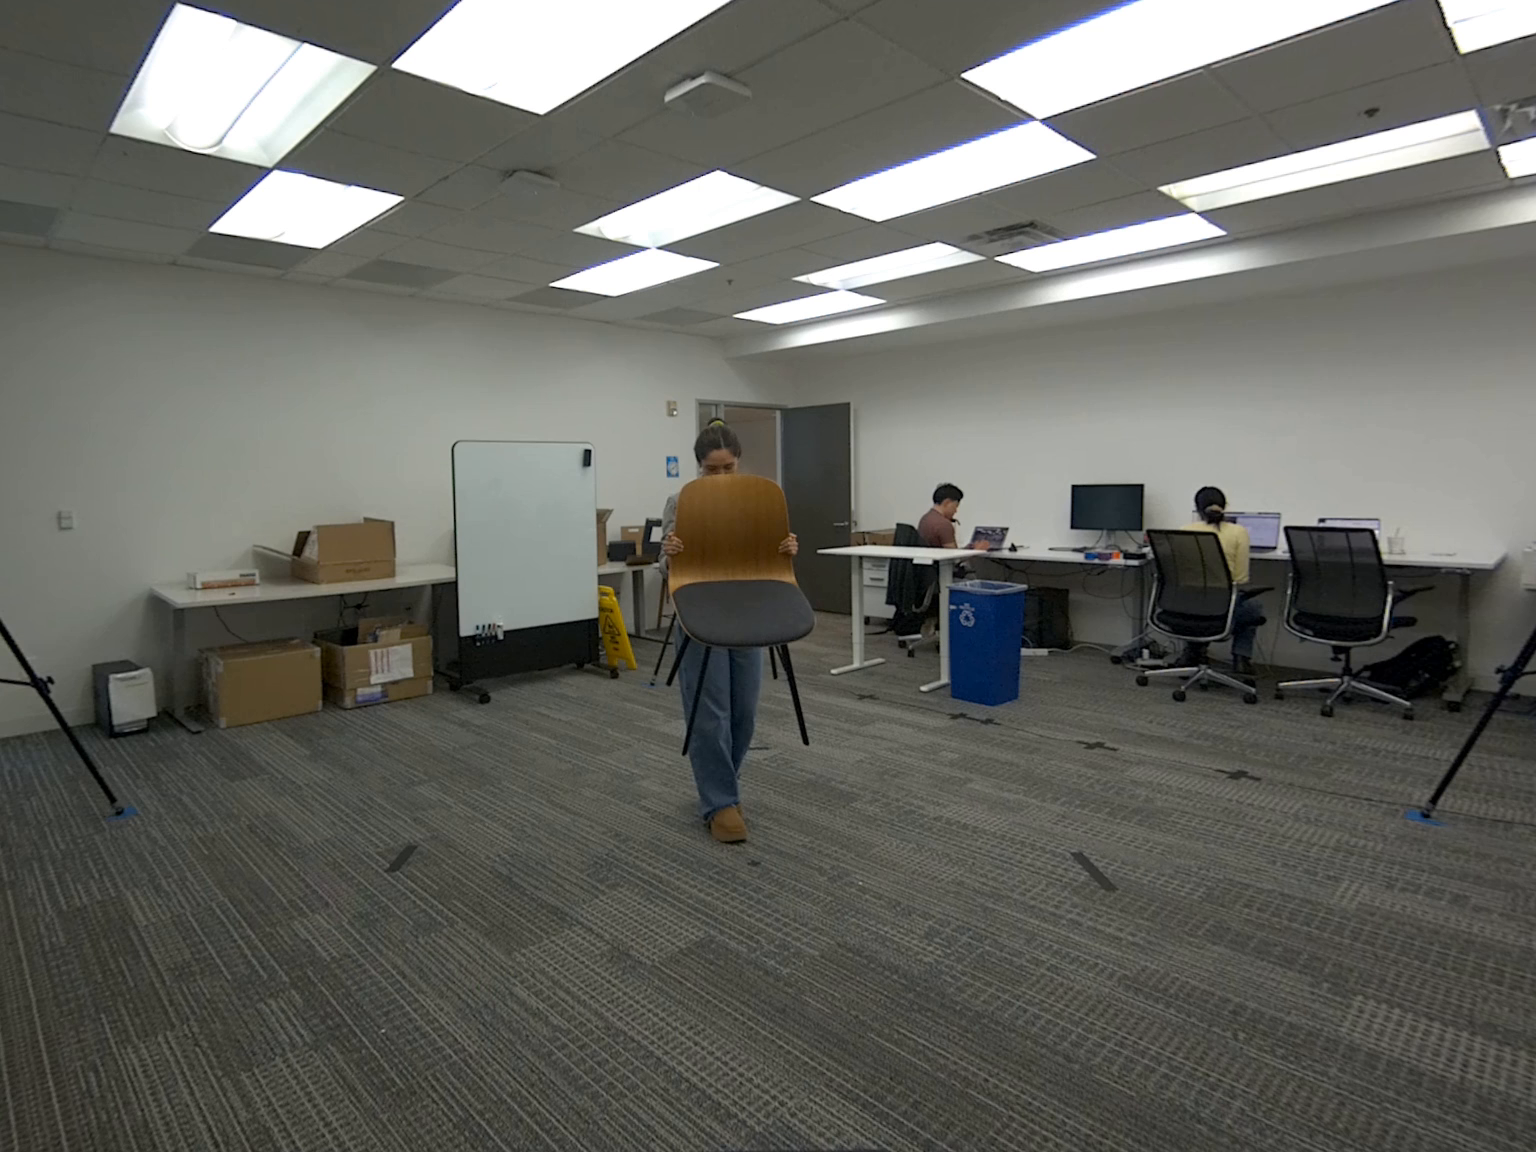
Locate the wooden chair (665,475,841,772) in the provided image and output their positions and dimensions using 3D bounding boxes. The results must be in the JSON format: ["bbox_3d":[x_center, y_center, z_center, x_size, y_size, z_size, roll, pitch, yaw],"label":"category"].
[{"bbox_3d":[-0.088,0.138,3.012,0.473,0.864,0.537,-2,19,-12],"label":"wooden chair"}]
